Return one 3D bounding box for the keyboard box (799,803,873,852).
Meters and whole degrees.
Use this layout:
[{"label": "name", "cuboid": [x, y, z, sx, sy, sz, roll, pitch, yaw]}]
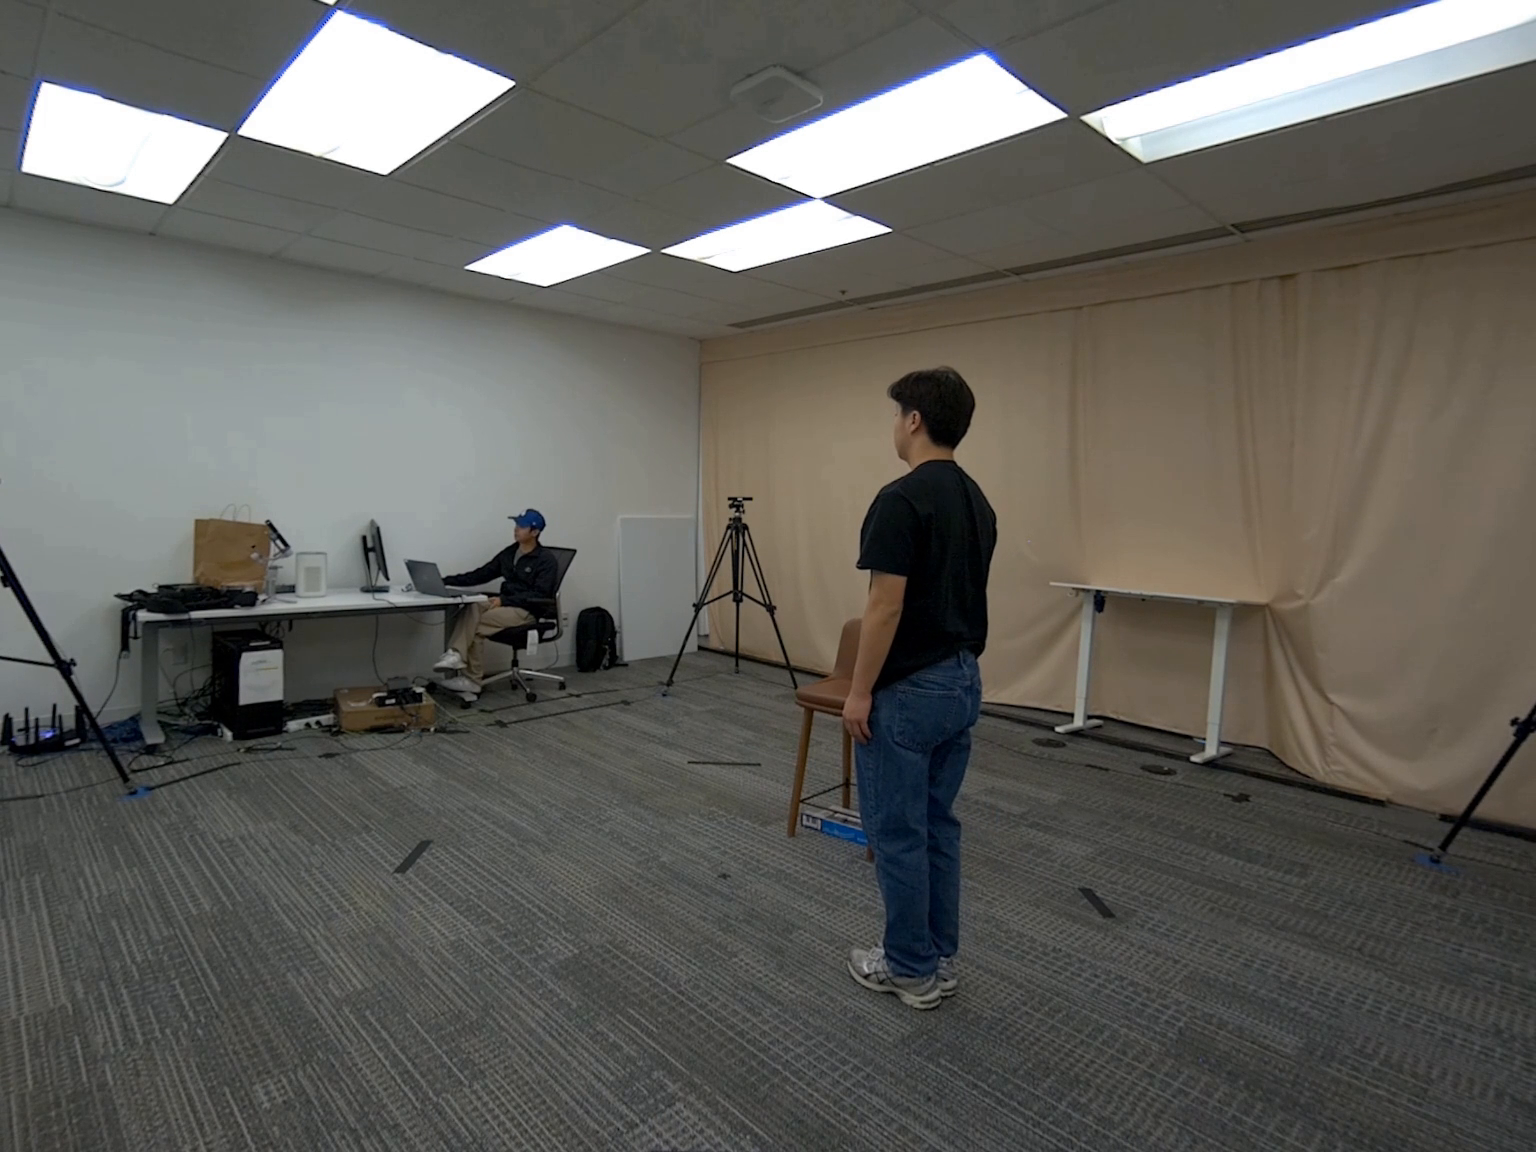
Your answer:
[{"label": "keyboard box", "cuboid": [0.363, 1.058, 3.542, 0.448, 0.059, 0.172, 6, 6, 38]}]
